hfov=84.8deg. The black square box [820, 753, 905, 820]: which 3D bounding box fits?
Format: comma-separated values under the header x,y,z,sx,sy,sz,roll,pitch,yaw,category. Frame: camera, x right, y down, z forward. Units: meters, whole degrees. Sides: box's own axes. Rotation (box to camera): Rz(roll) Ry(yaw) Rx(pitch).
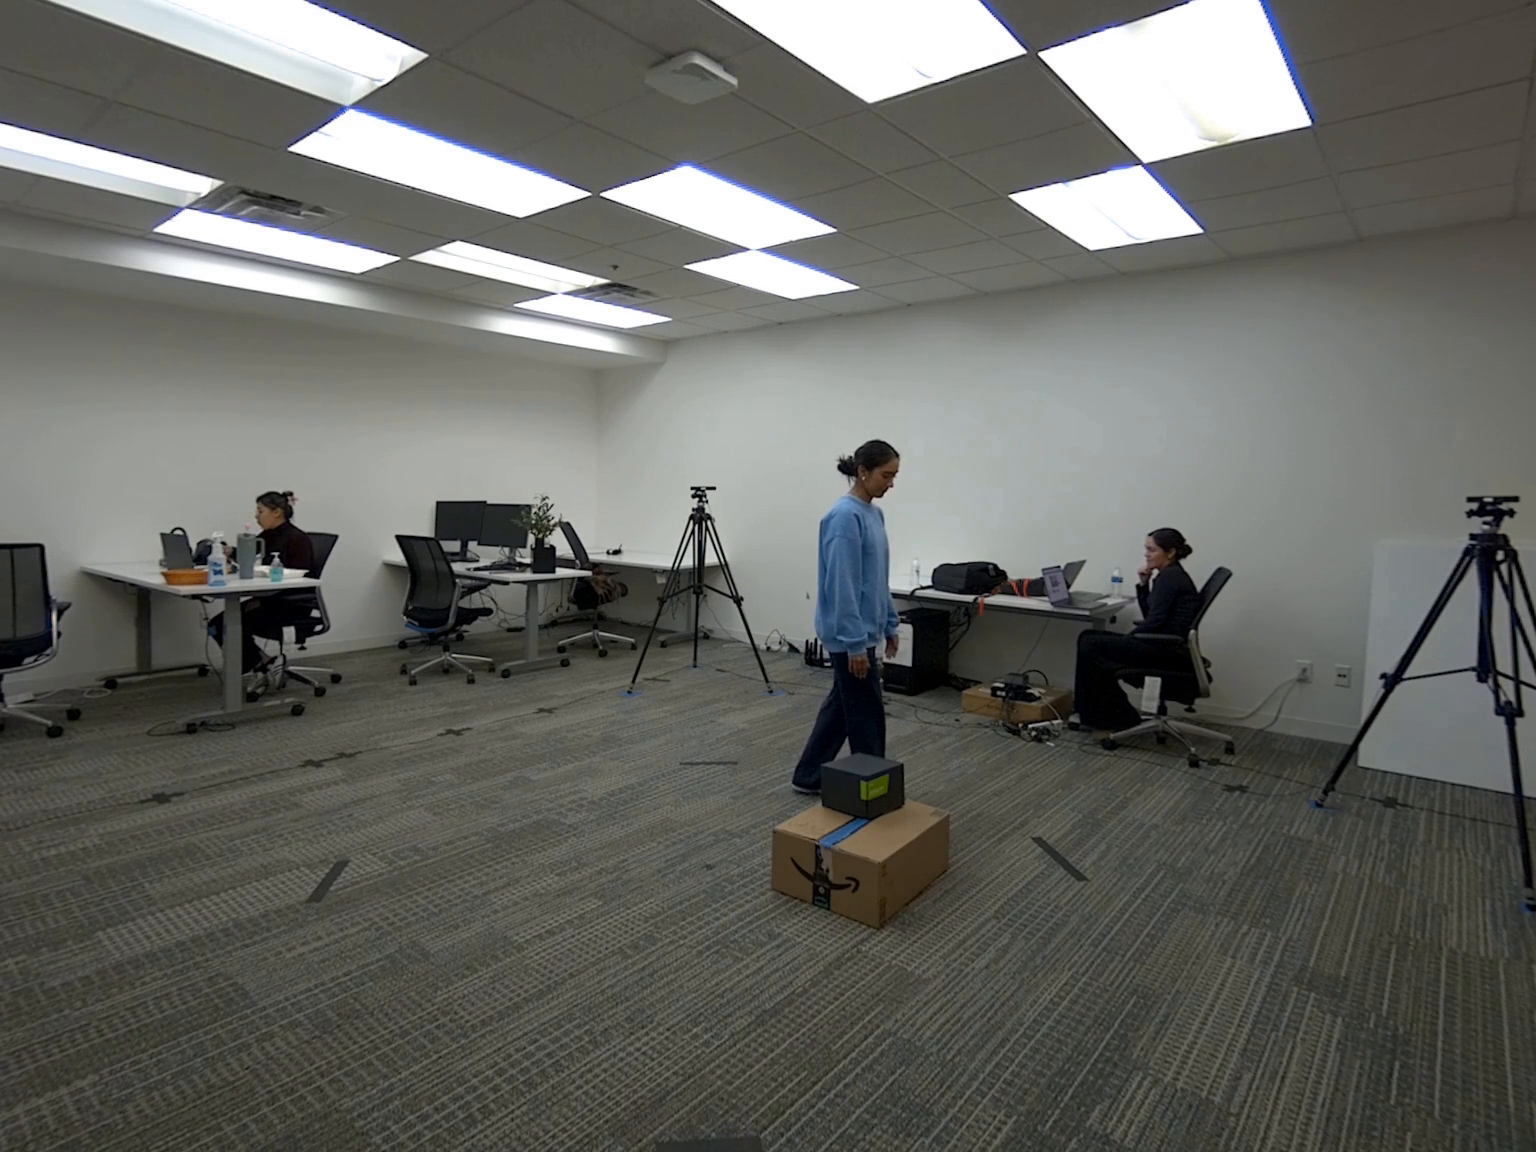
x,y,z,sx,sy,sz,roll,pitch,yaw,category
0.340,0.766,3.156,0.221,0.156,0.224,-3,4,-45,black square box
